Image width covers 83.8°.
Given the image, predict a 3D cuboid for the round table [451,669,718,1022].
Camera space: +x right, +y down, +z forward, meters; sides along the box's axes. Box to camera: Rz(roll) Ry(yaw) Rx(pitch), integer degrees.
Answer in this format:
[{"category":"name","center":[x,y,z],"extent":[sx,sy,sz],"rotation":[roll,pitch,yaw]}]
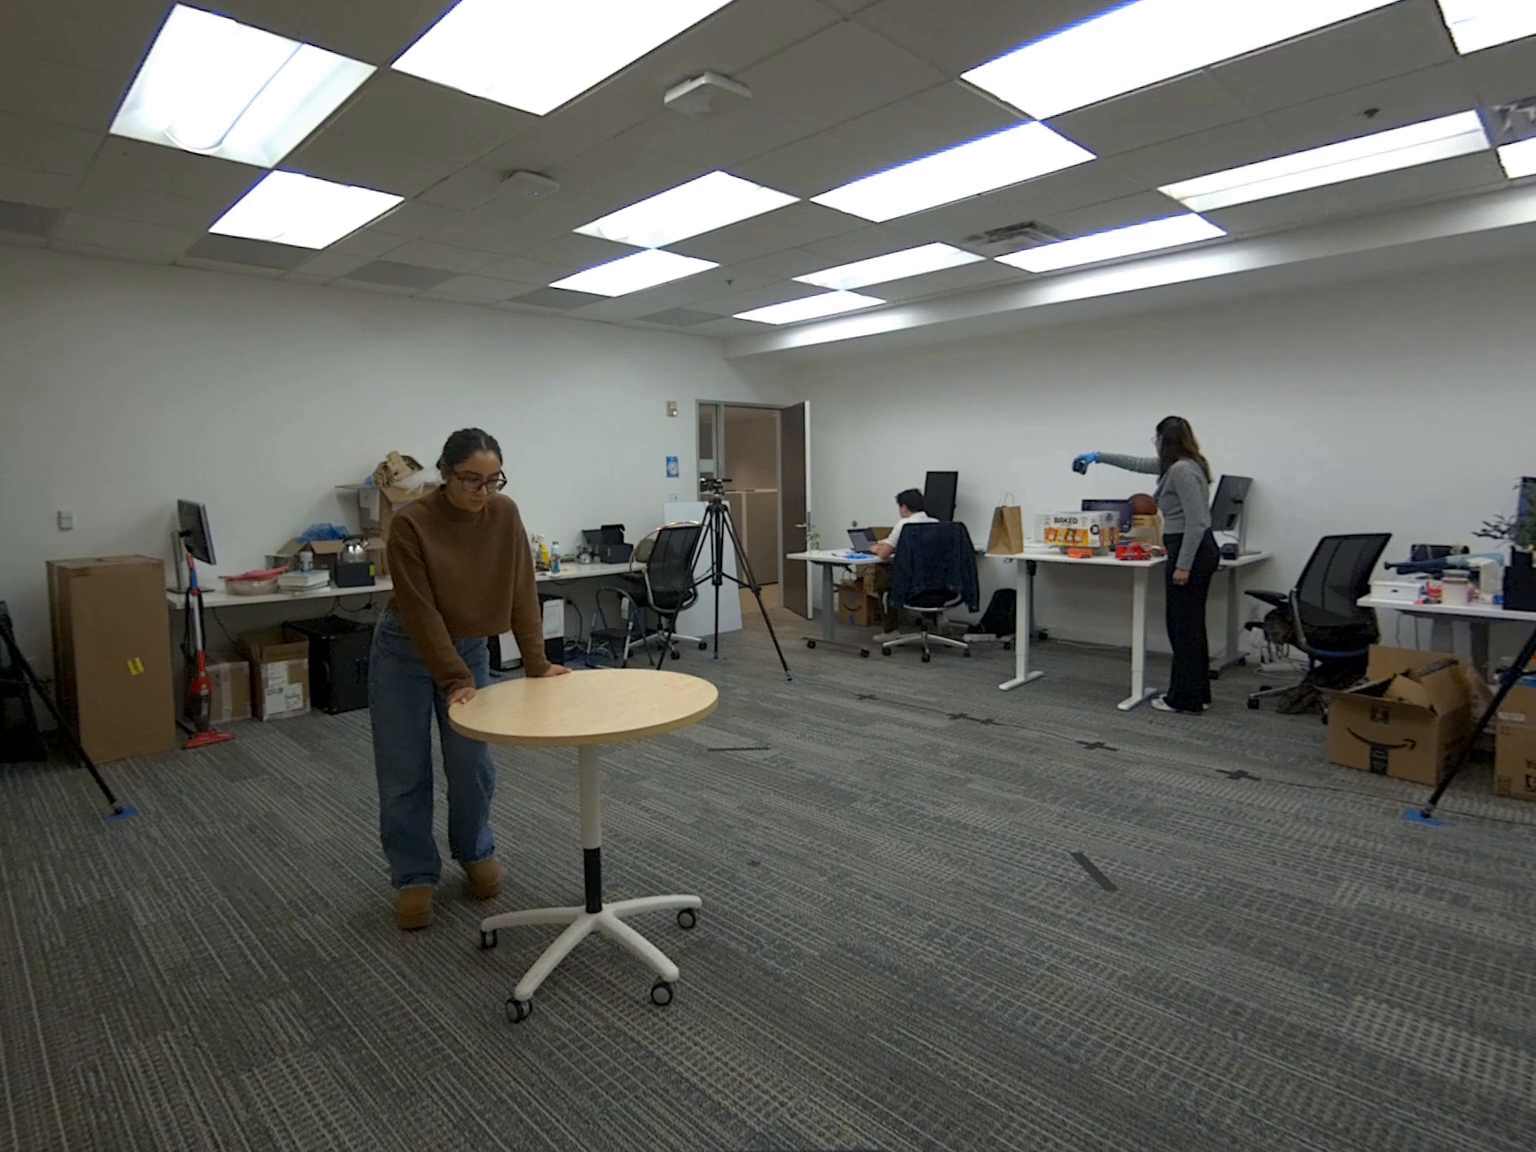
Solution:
[{"category":"round table","center":[-0.518,0.741,2.498],"extent":[0.763,0.791,0.768],"rotation":[-2,5,-2]}]
